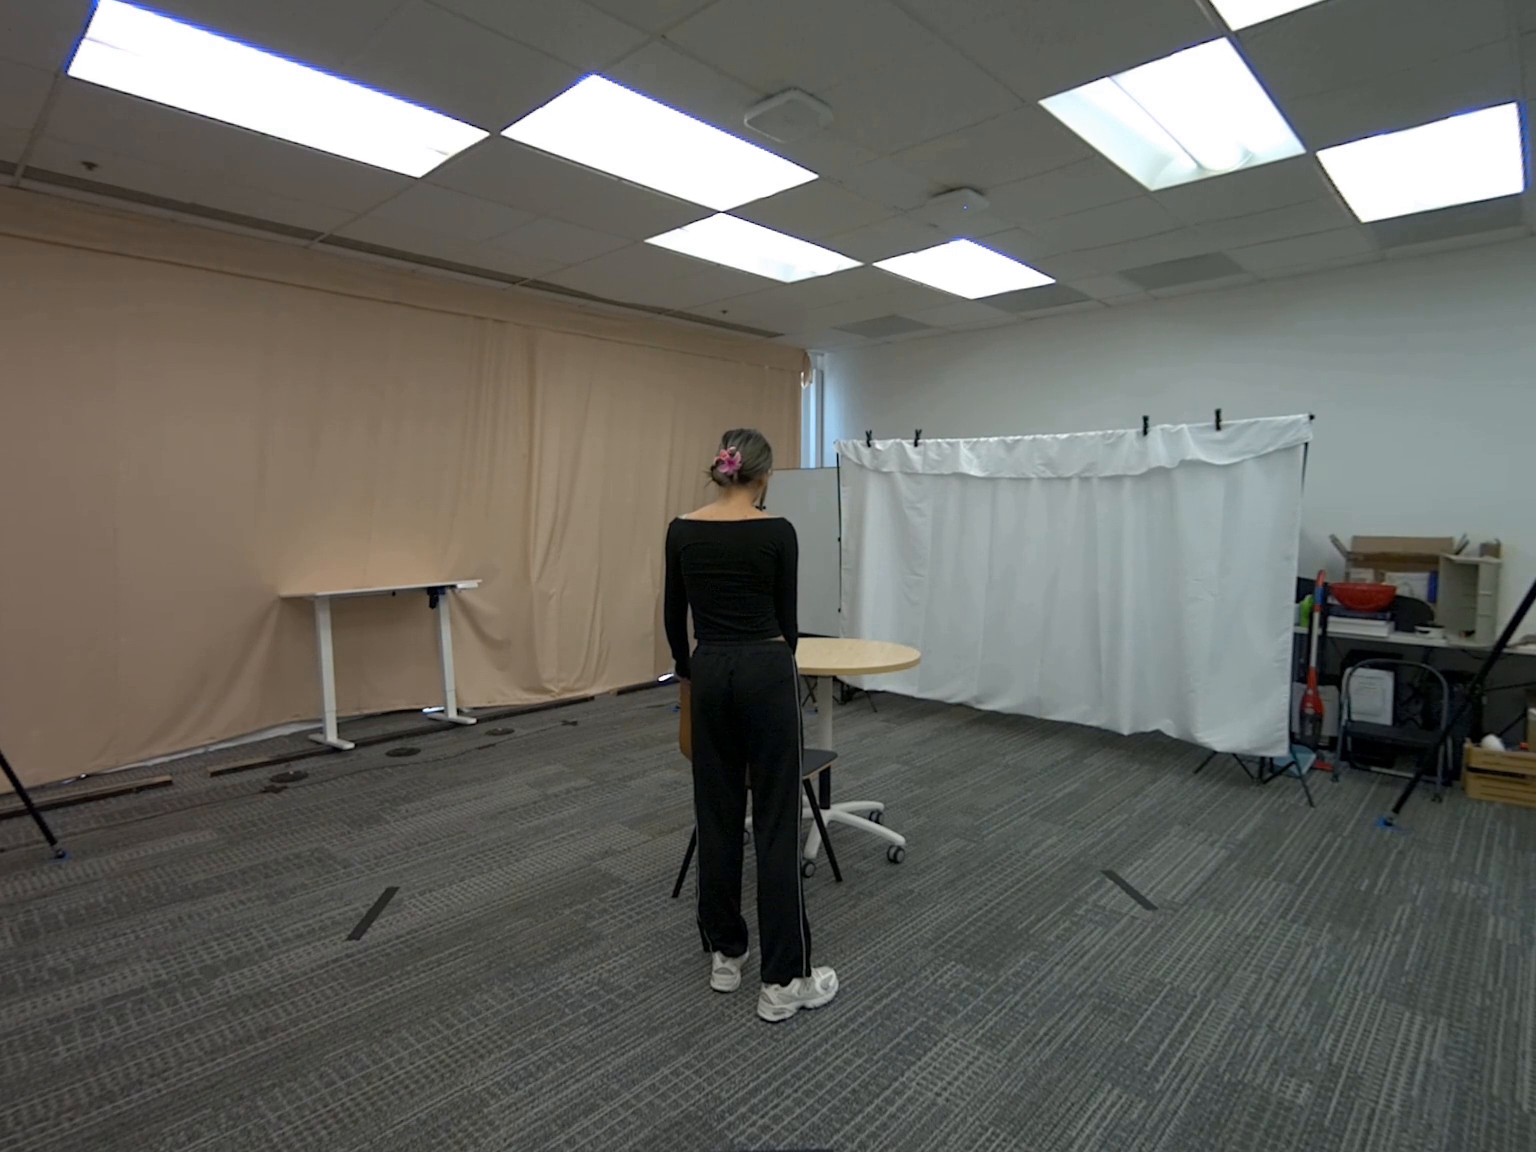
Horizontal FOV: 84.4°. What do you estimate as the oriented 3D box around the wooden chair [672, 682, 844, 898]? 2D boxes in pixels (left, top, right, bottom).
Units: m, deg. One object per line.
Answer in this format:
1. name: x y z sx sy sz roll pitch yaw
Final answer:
1. wooden chair: -0.030 0.711 3.031 0.492 0.873 0.510 2 8 33
